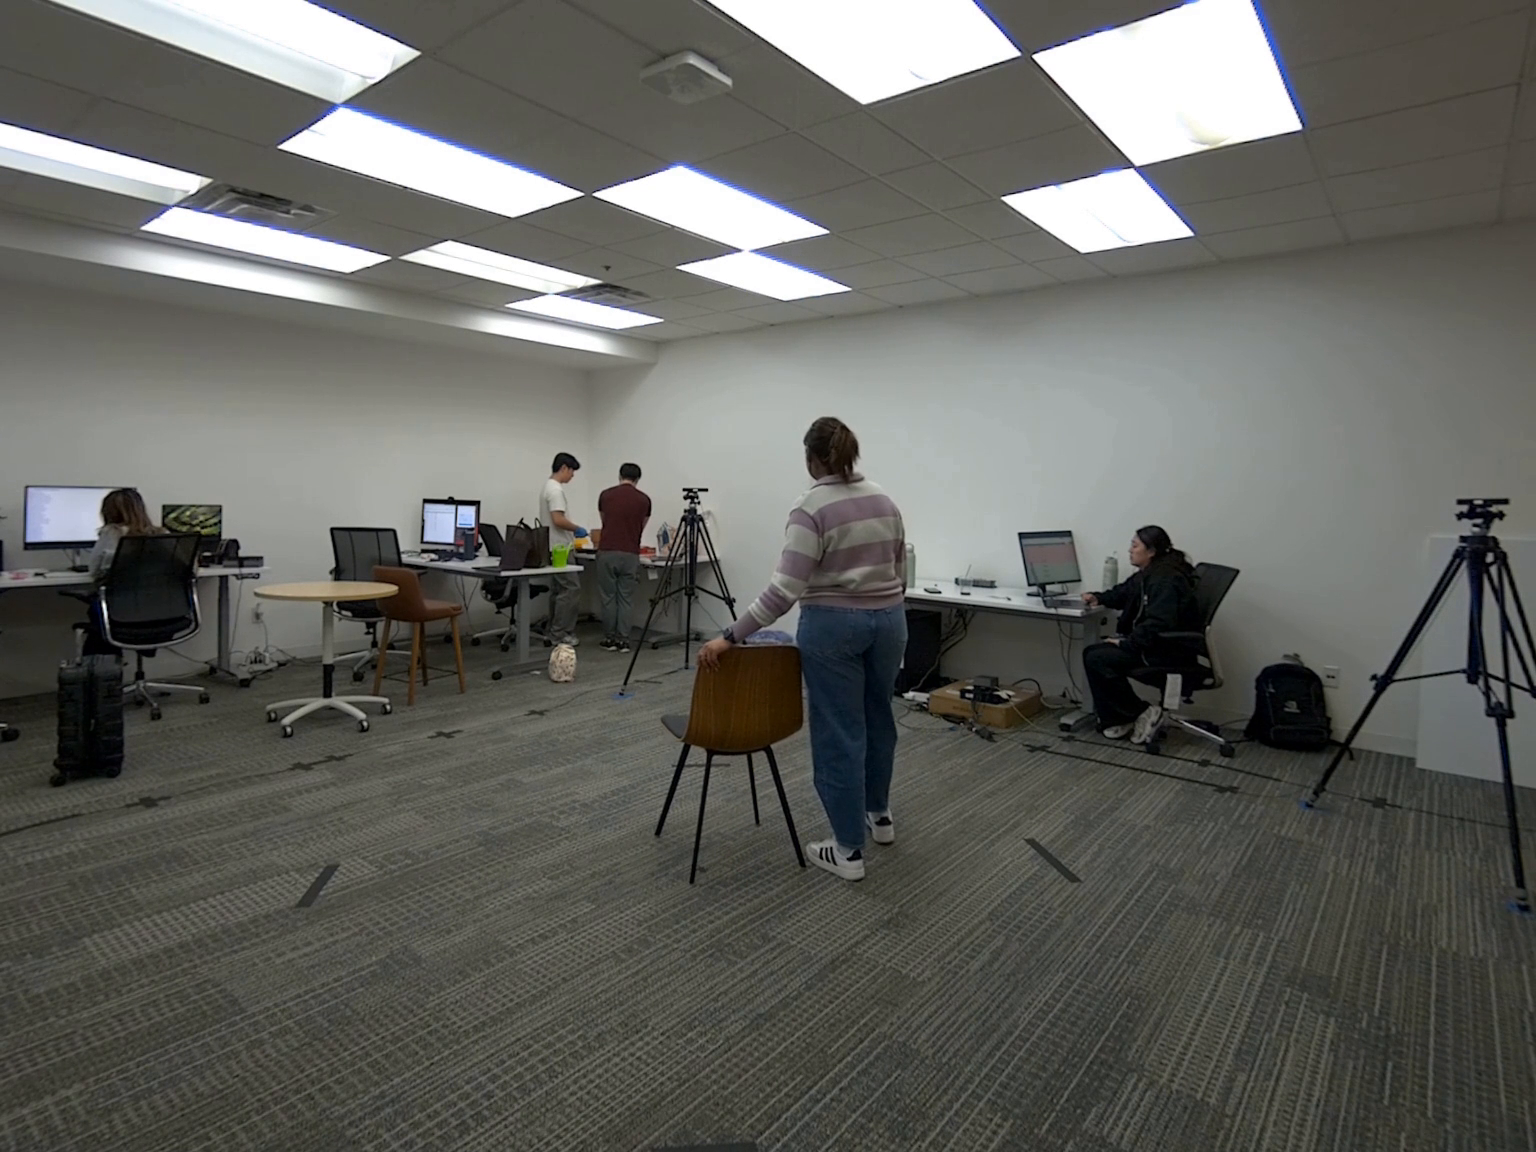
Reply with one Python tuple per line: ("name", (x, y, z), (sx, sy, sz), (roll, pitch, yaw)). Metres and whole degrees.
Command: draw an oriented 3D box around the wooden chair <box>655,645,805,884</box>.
("wooden chair", (-0.164, 0.628, 3.254), (0.468, 0.872, 0.538), (0, 7, -22))
